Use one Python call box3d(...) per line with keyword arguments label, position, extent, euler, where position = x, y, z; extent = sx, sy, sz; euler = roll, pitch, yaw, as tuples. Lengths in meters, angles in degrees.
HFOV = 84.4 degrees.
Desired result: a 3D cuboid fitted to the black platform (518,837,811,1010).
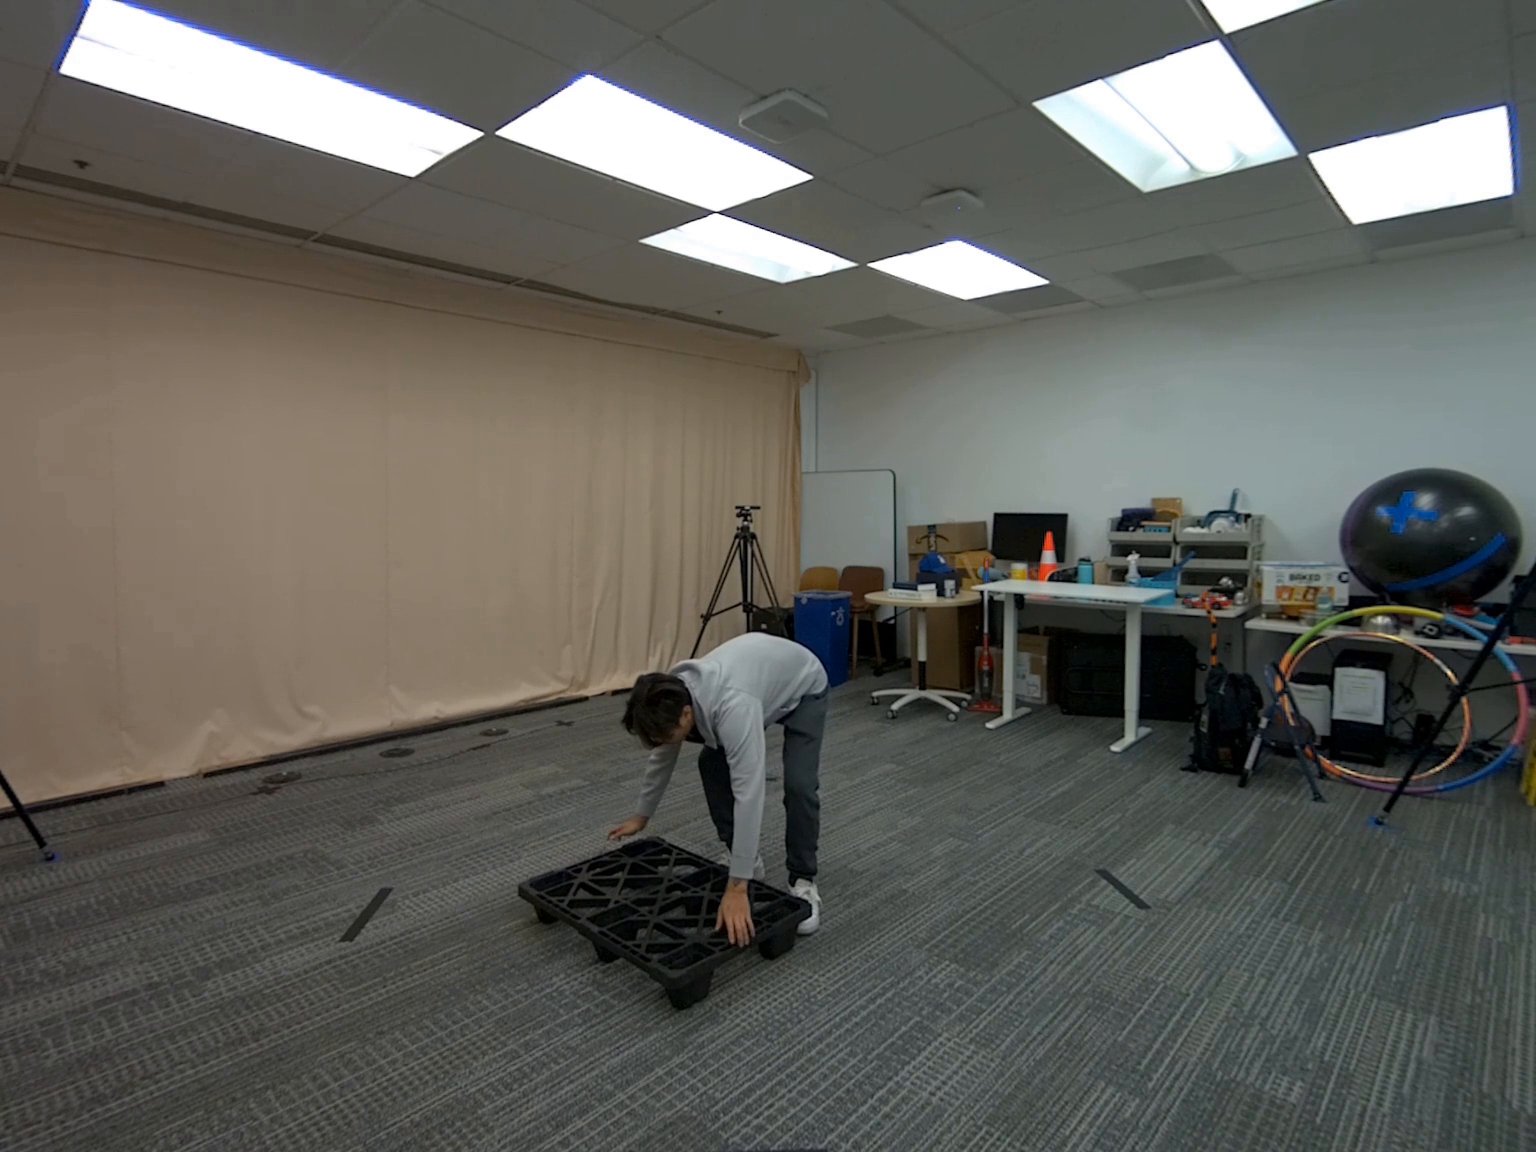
box3d(label="black platform", position=(-0.347, 1.099, 2.736), extent=(0.832, 0.143, 0.587), euler=(4, 7, 45))
